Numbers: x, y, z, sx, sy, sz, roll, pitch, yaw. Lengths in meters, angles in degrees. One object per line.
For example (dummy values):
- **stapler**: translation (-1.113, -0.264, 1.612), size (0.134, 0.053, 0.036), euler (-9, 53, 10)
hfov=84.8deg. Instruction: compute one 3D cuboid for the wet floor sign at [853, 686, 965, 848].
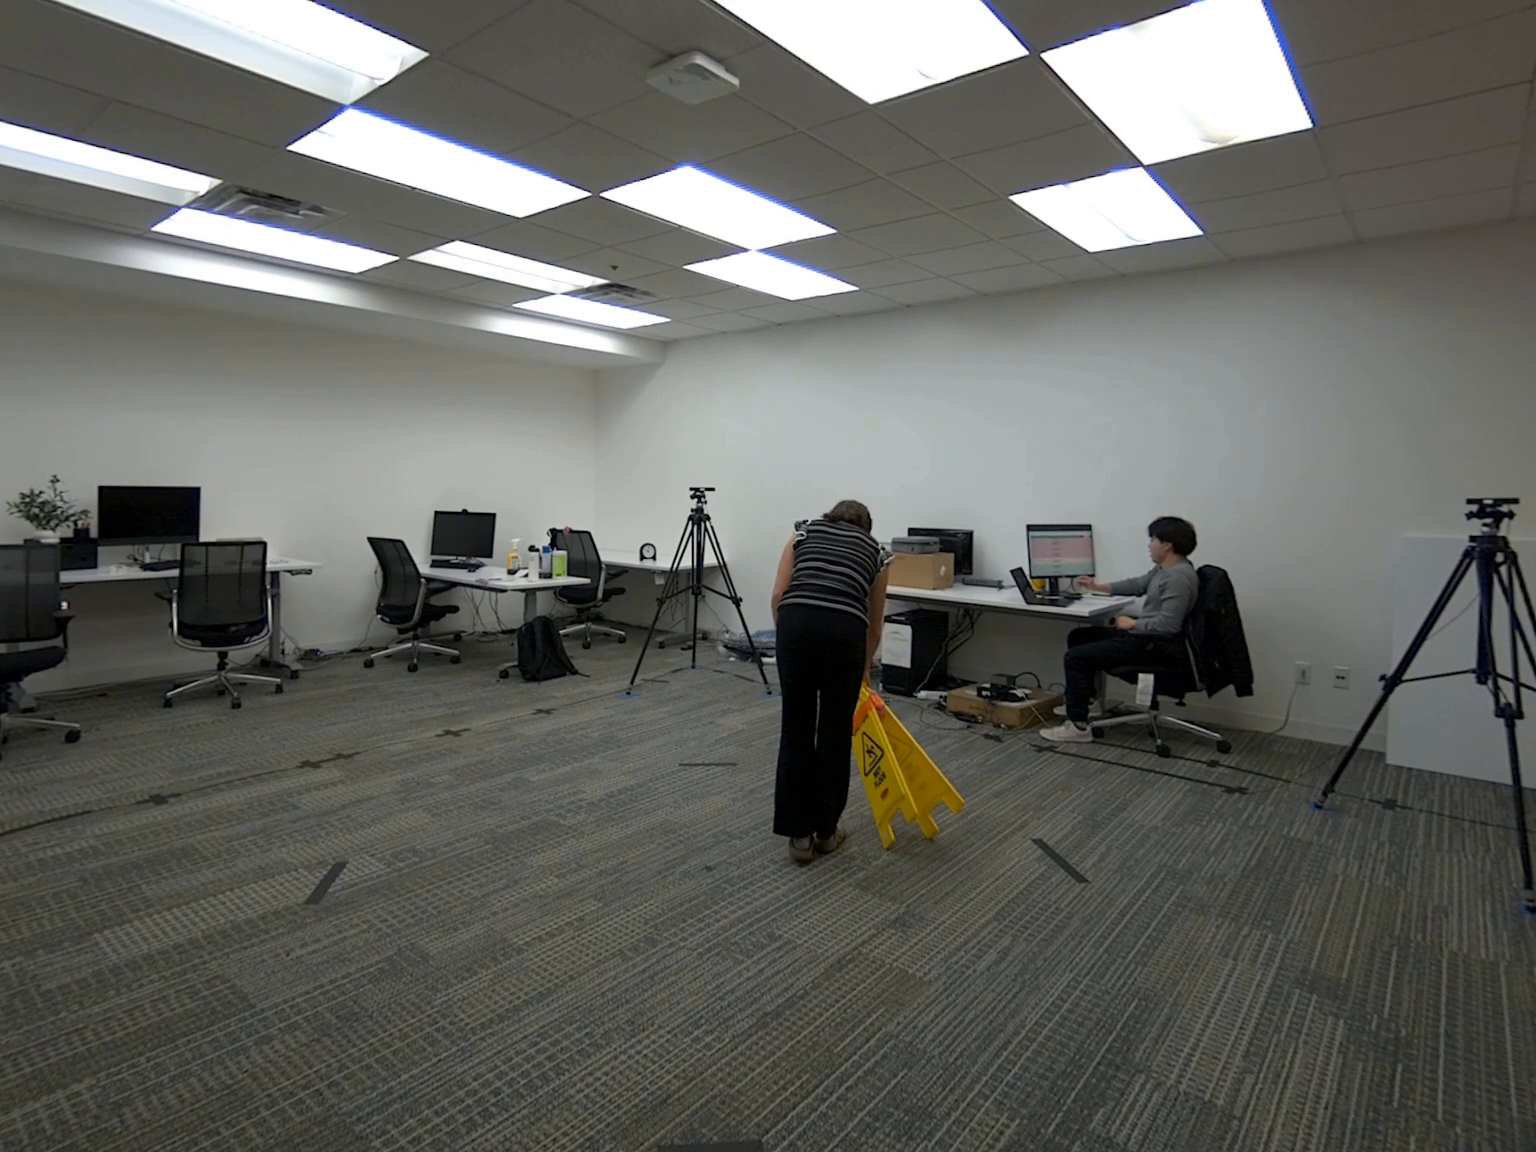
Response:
- **wet floor sign**: translation (0.474, 0.729, 3.491), size (0.282, 0.278, 0.671), euler (-3, 47, -29)
